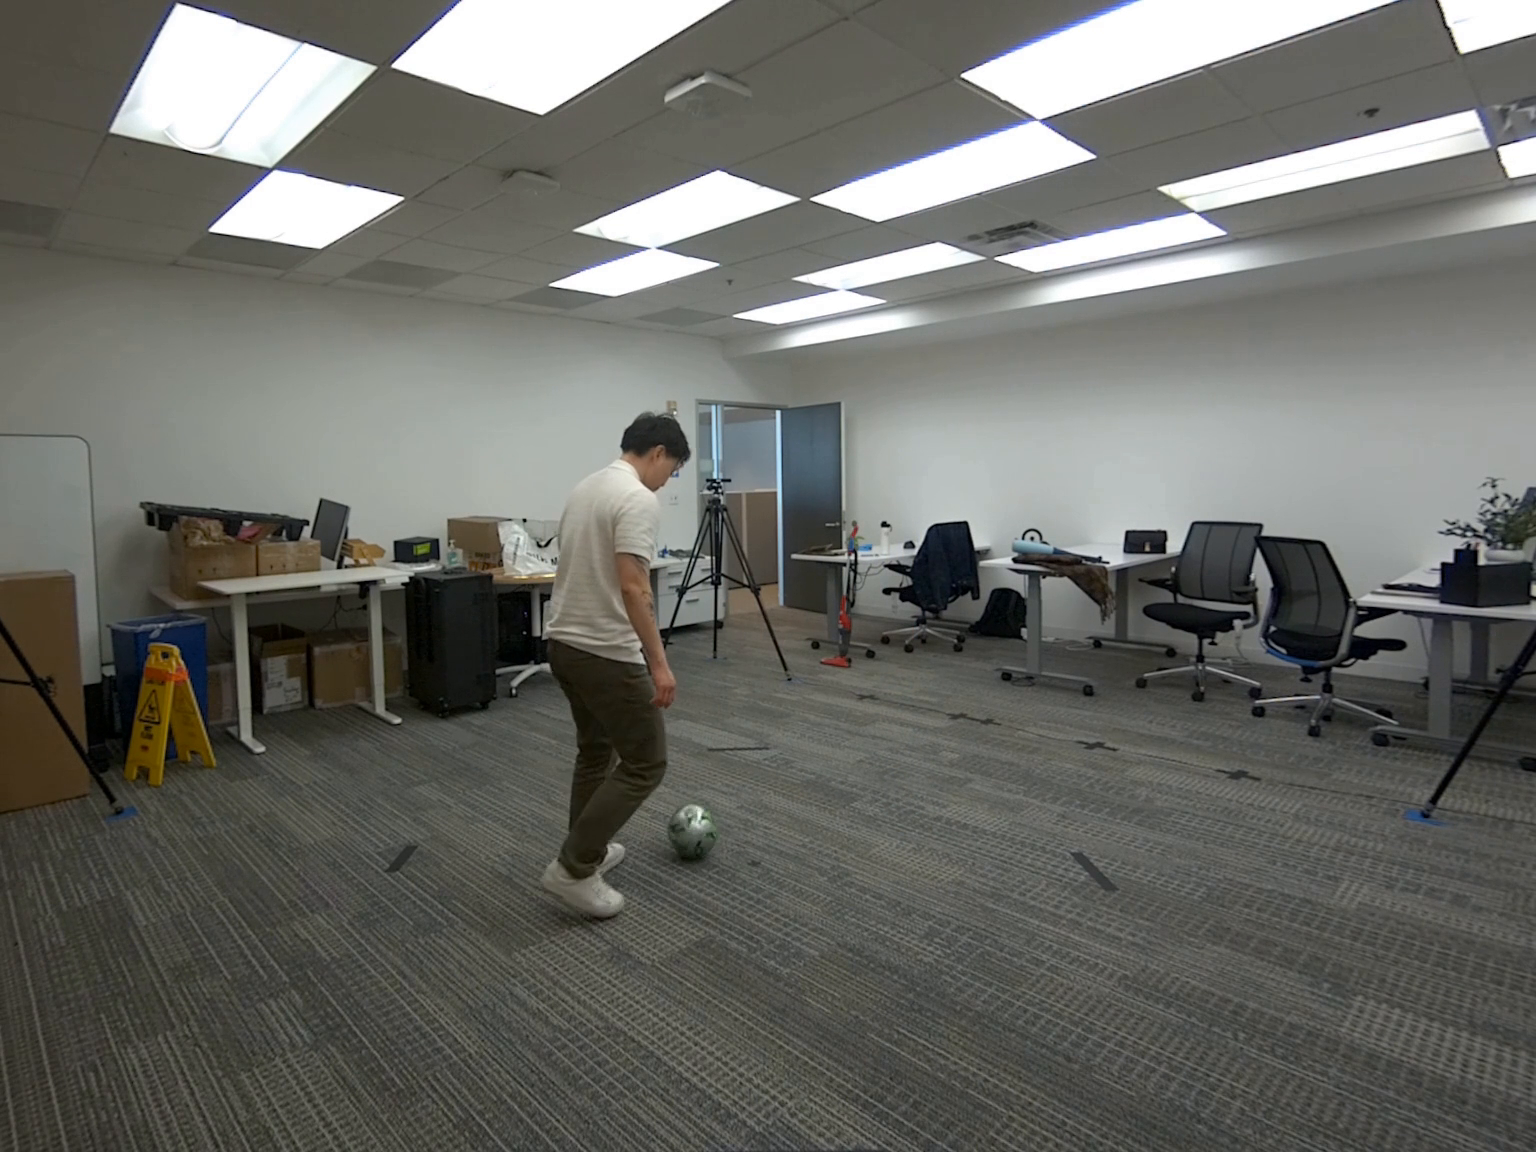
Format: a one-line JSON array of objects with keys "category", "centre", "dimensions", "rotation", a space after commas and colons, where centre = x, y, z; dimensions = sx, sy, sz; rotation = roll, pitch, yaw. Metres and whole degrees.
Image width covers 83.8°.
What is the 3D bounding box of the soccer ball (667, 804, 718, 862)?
[{"category": "soccer ball", "centre": [-0.279, 0.943, 3.168], "dimensions": [0.187, 0.187, 0.188], "rotation": [-1, 5, -2]}]
